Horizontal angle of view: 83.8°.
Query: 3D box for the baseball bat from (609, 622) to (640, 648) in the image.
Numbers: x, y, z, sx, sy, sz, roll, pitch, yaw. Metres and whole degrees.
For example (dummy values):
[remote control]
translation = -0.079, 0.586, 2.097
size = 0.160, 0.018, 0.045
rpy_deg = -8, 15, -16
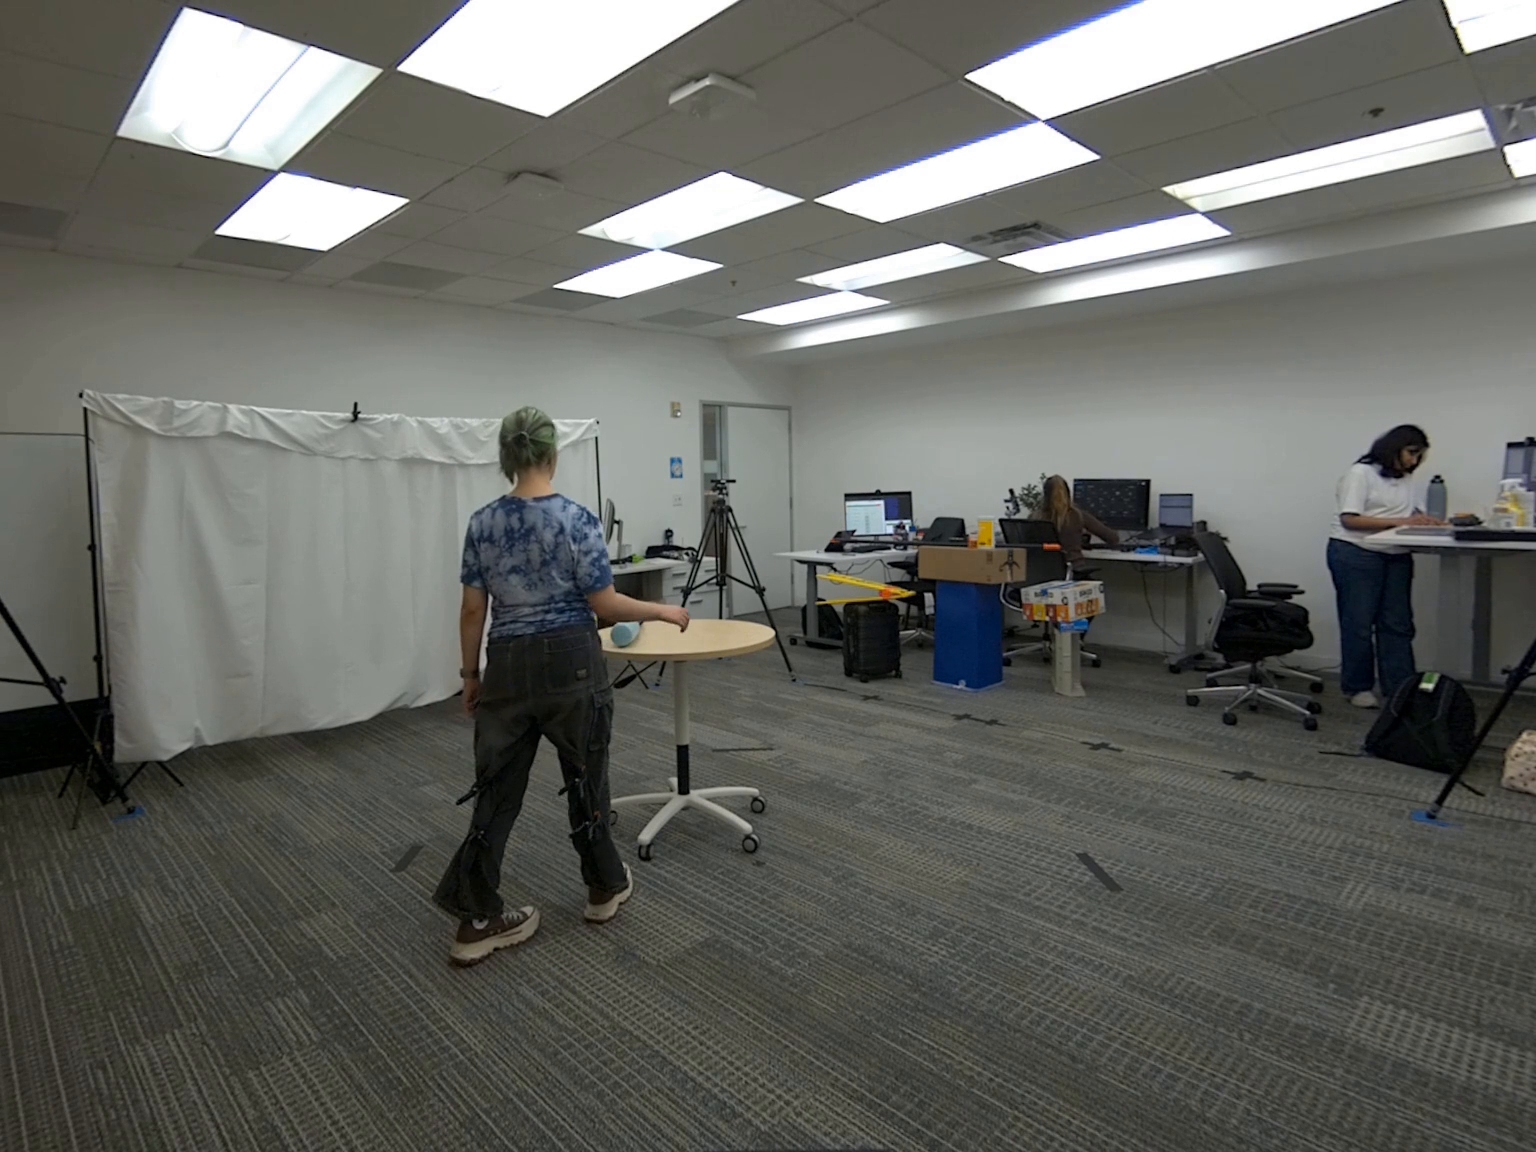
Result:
[baseball bat]
translation = -0.549, 0.204, 3.419
size = 0.089, 0.089, 0.545
rpy_deg = -1, 4, -3
